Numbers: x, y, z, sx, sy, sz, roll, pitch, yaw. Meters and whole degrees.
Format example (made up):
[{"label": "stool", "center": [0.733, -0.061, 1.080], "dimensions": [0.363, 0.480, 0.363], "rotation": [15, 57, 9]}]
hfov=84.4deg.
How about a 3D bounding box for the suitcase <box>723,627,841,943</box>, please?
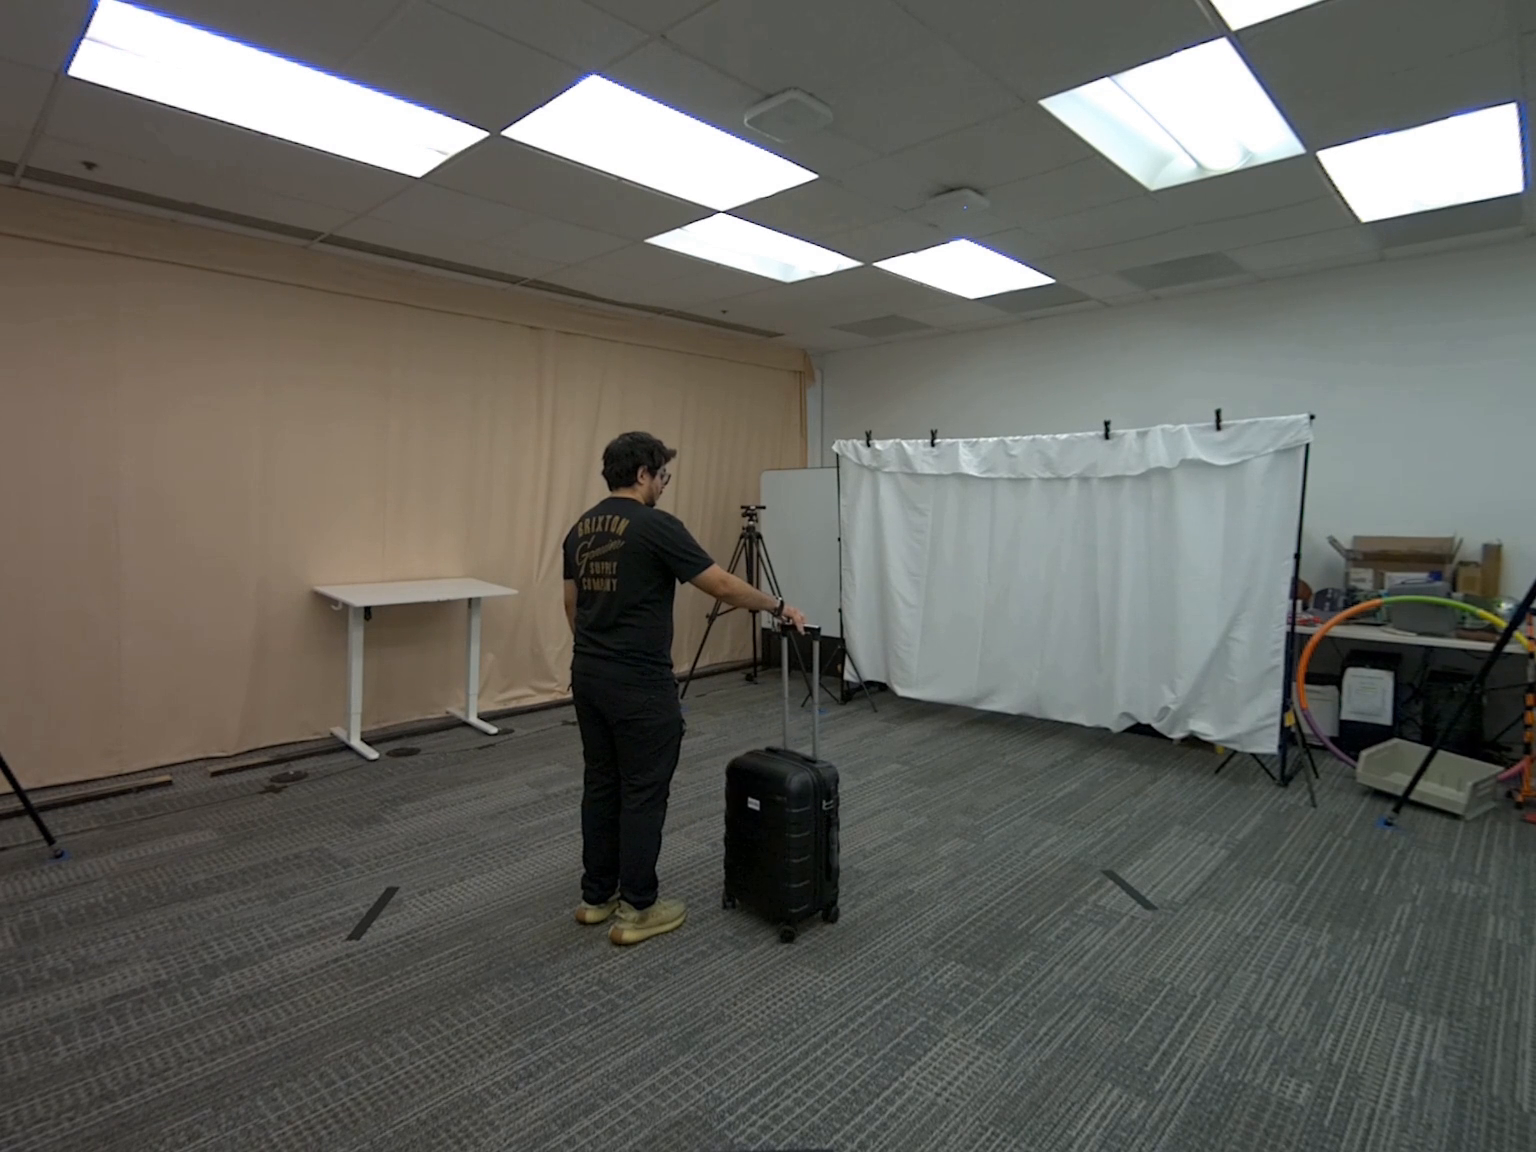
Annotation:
[{"label": "suitcase", "center": [0.046, 0.680, 2.843], "dimensions": [0.249, 0.976, 0.397], "rotation": [-4, 4, -44]}]
